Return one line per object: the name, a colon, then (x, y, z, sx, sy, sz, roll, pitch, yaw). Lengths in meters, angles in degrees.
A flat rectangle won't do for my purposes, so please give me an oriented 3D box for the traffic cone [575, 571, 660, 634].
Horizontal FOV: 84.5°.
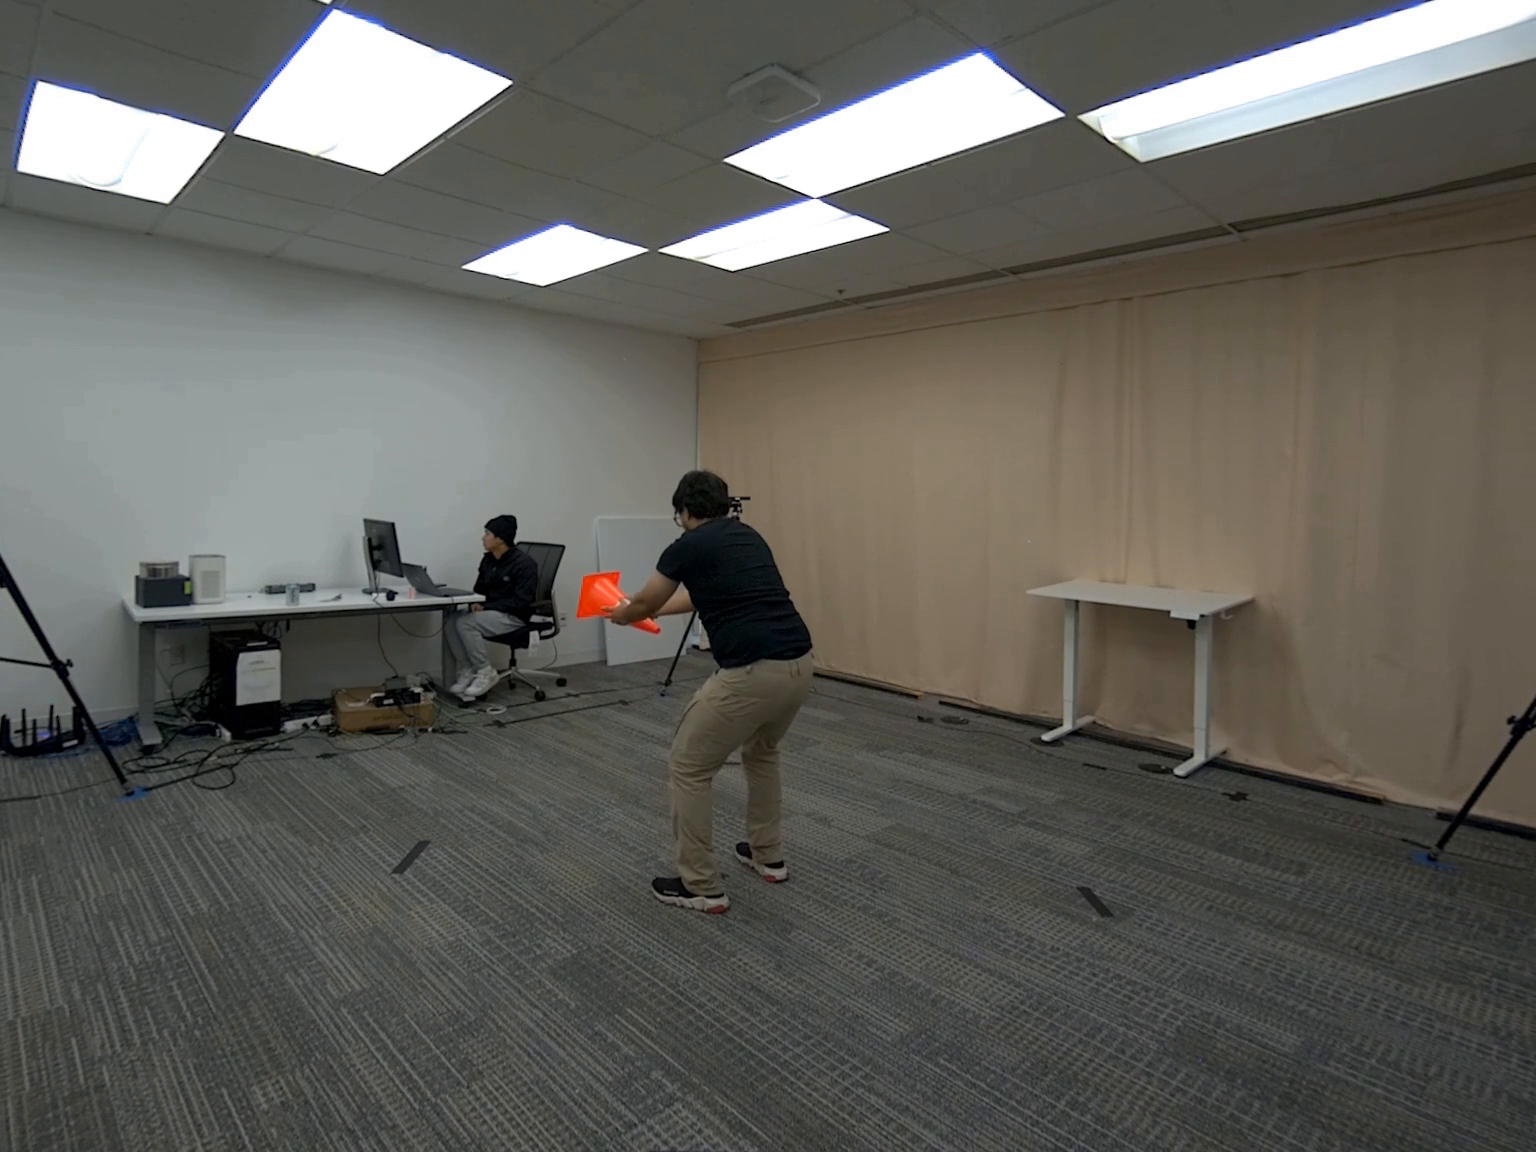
traffic cone: (-0.587, 0.155, 3.426, 0.395, 0.201, 0.201, 25, 20, 37)
